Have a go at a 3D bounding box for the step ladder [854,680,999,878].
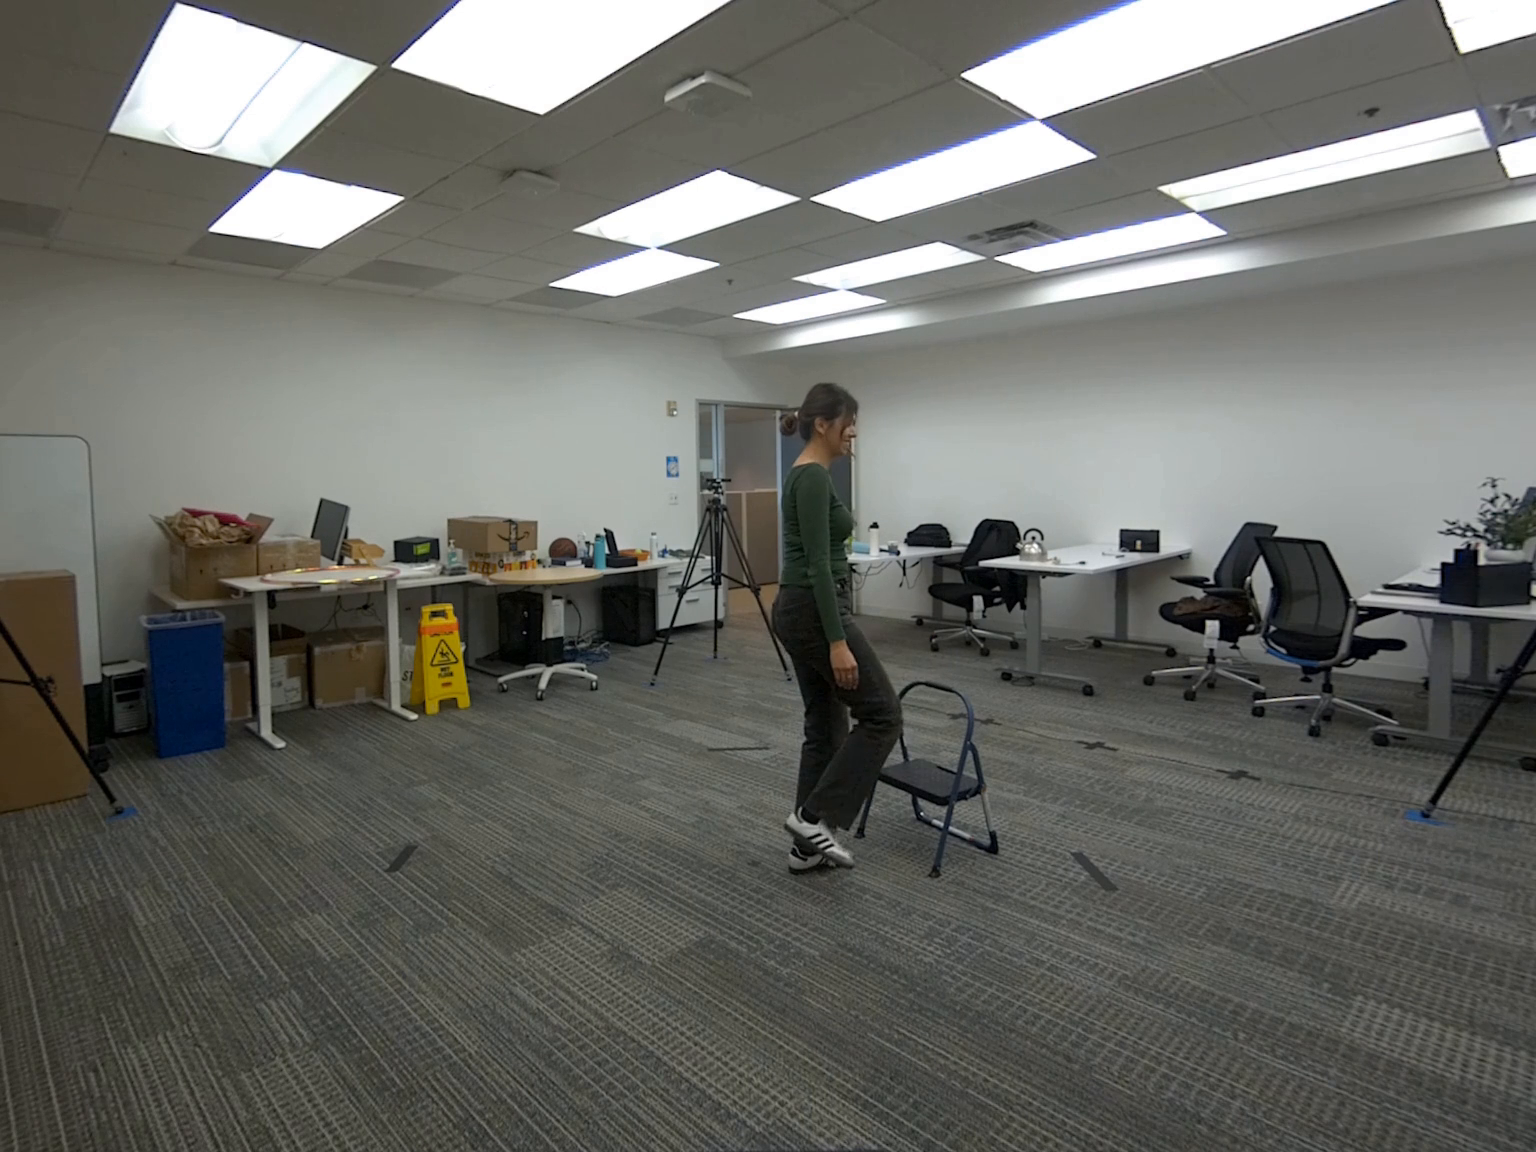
[{"bbox_3d":[0.594,0.718,3.218,0.340,0.604,0.443,-3,5,-34],"label":"step ladder"}]
